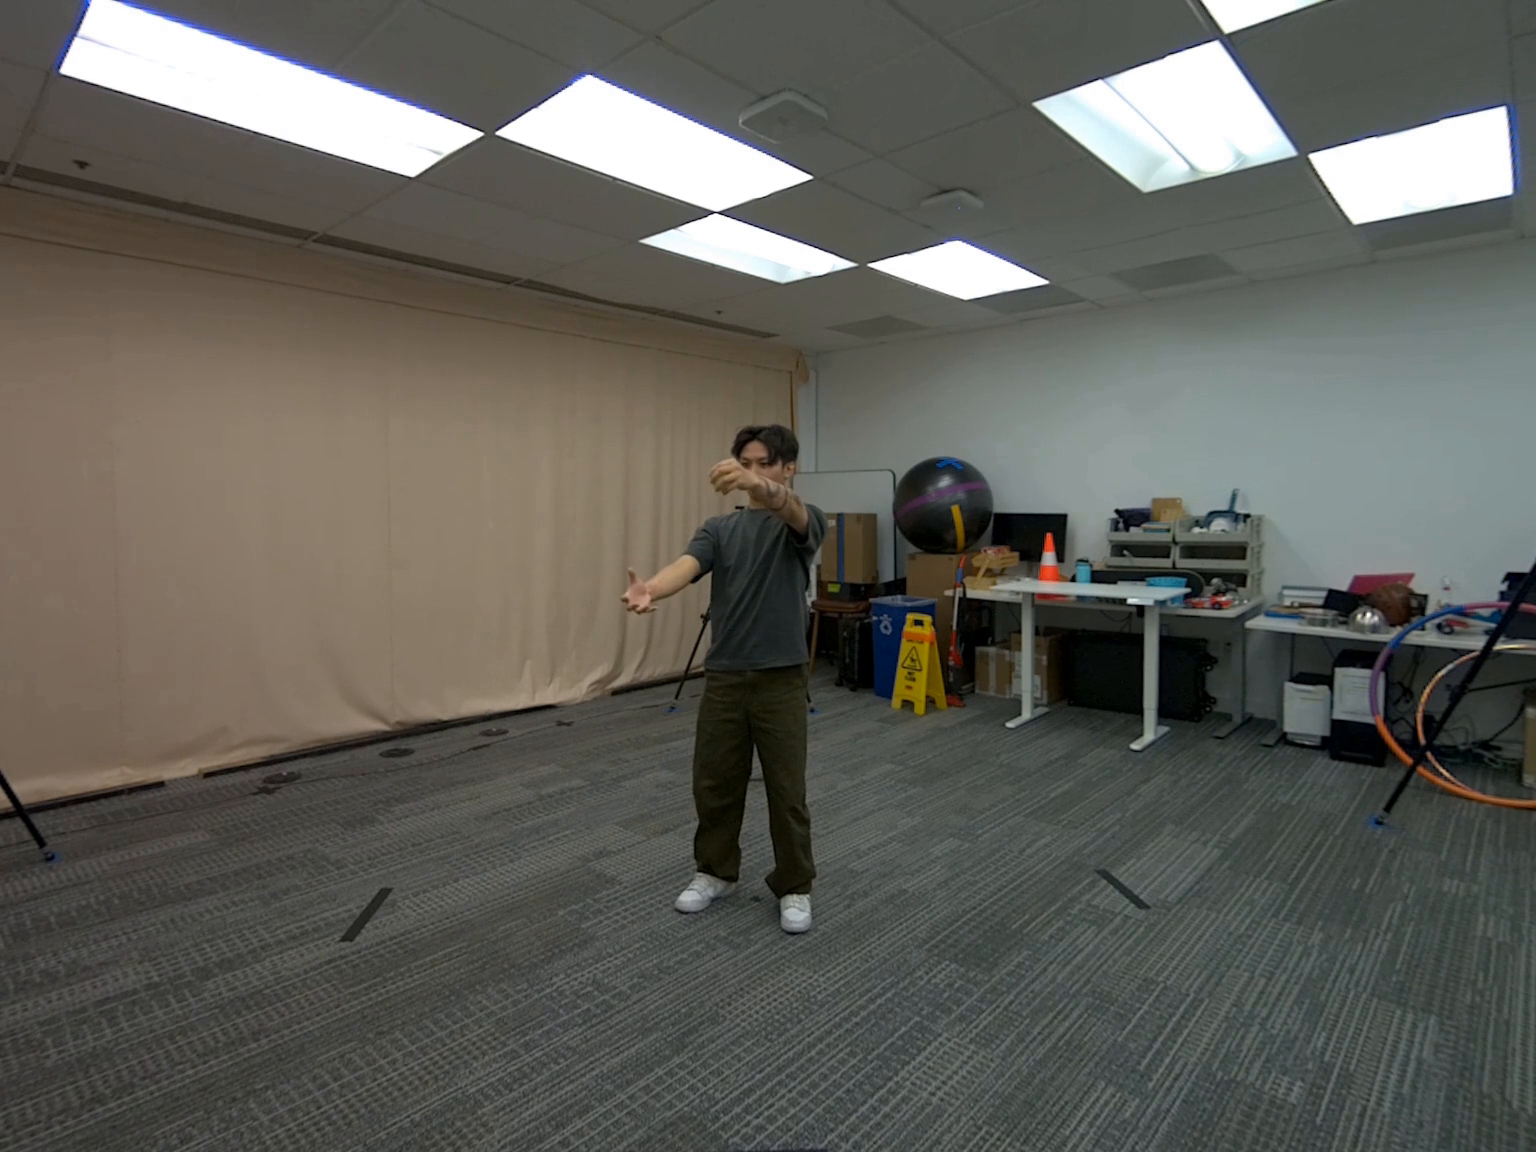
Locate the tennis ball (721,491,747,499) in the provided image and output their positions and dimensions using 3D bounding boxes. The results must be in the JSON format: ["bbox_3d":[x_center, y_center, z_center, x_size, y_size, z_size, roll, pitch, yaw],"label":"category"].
[{"bbox_3d":[-0.095,-0.246,2.312,0.066,0.066,0.067,0,4,-2],"label":"tennis ball"}]
